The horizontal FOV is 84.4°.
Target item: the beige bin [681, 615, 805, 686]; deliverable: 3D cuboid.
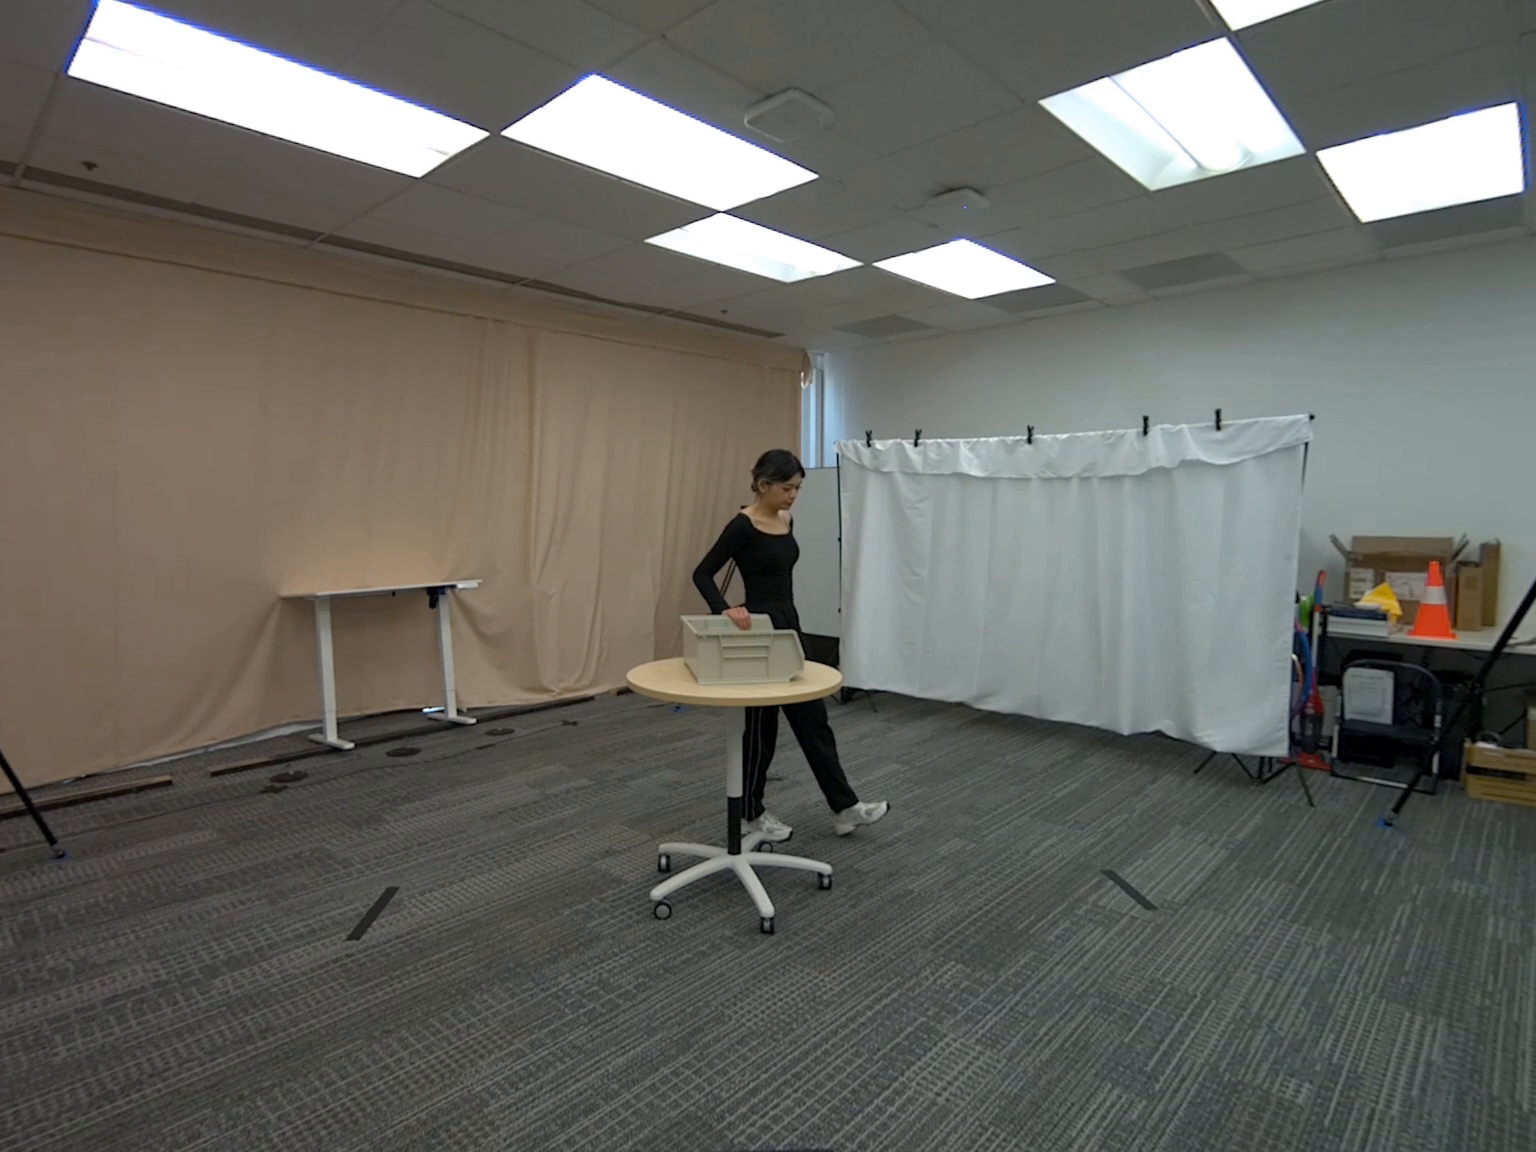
[{"bbox_3d":[-0.099,0.254,3.038,0.373,0.188,0.428,-4,6,-11],"label":"beige bin"}]
